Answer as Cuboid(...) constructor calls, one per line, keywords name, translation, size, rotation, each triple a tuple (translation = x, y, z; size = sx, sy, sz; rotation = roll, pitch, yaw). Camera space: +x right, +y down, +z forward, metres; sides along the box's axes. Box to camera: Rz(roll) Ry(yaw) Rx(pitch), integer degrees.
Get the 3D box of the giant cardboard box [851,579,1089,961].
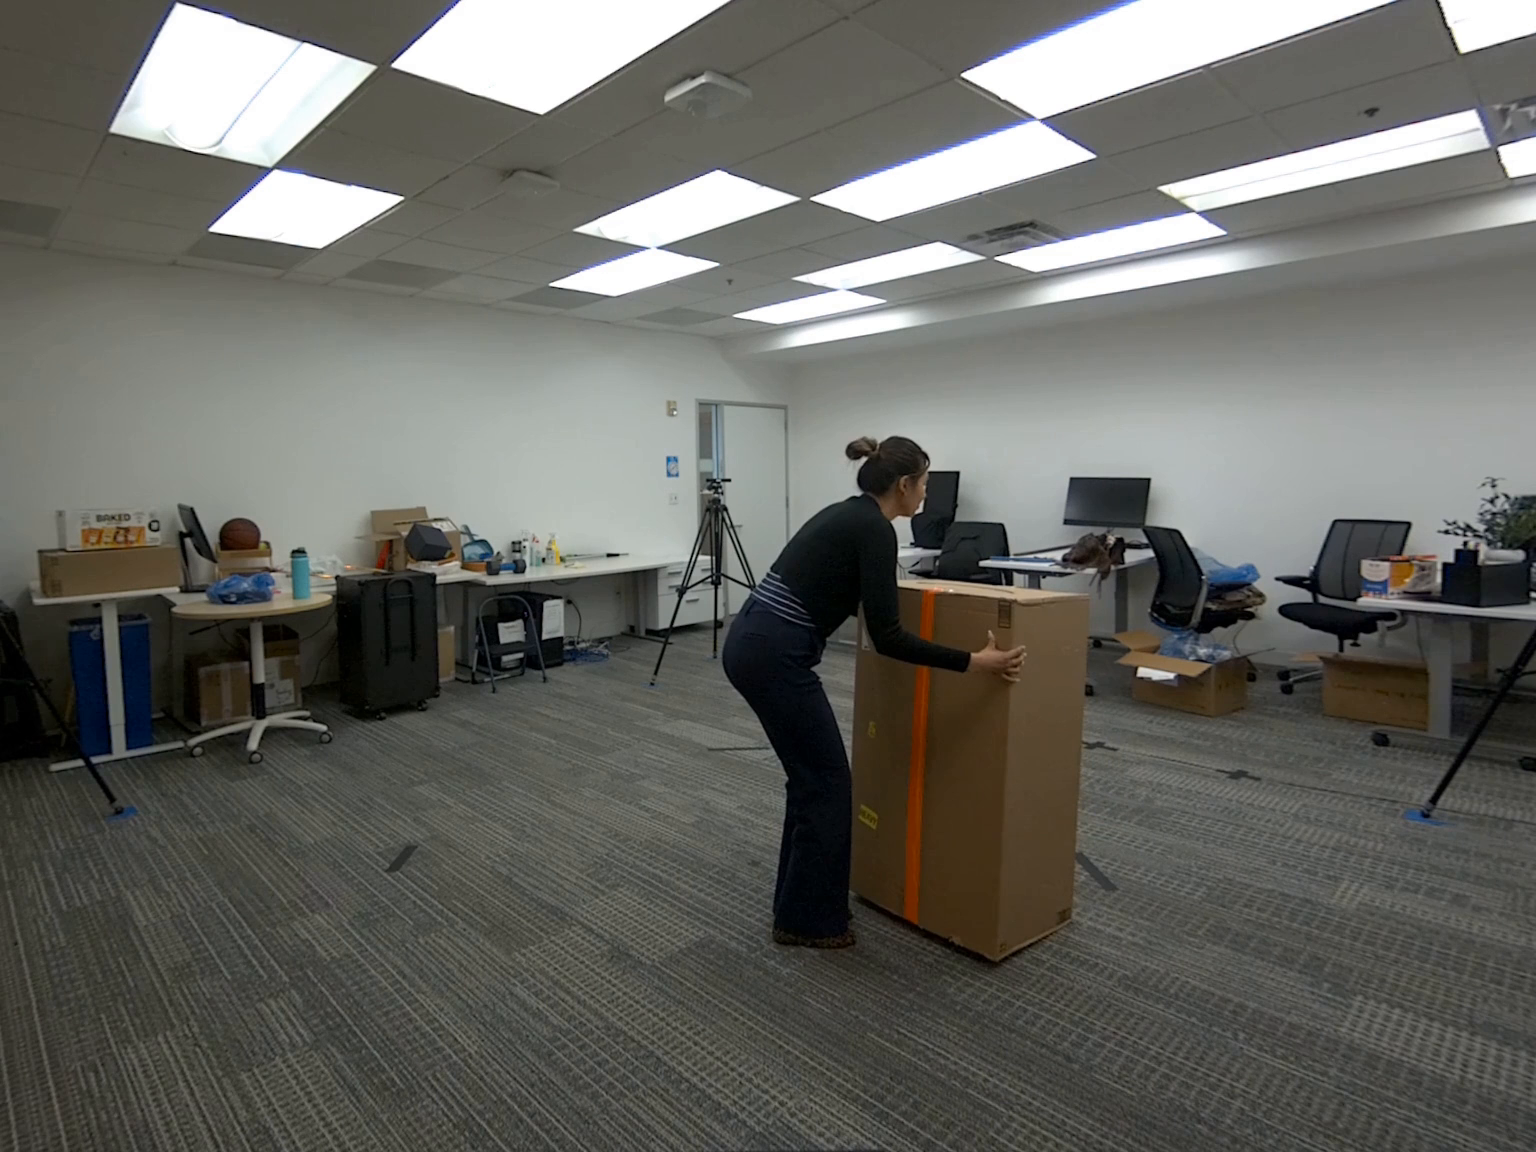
Cuboid(name="giant cardboard box", translation=(0.627, 0.553, 2.736), size=(0.414, 1.024, 0.595), rotation=(1, 2, -41))
